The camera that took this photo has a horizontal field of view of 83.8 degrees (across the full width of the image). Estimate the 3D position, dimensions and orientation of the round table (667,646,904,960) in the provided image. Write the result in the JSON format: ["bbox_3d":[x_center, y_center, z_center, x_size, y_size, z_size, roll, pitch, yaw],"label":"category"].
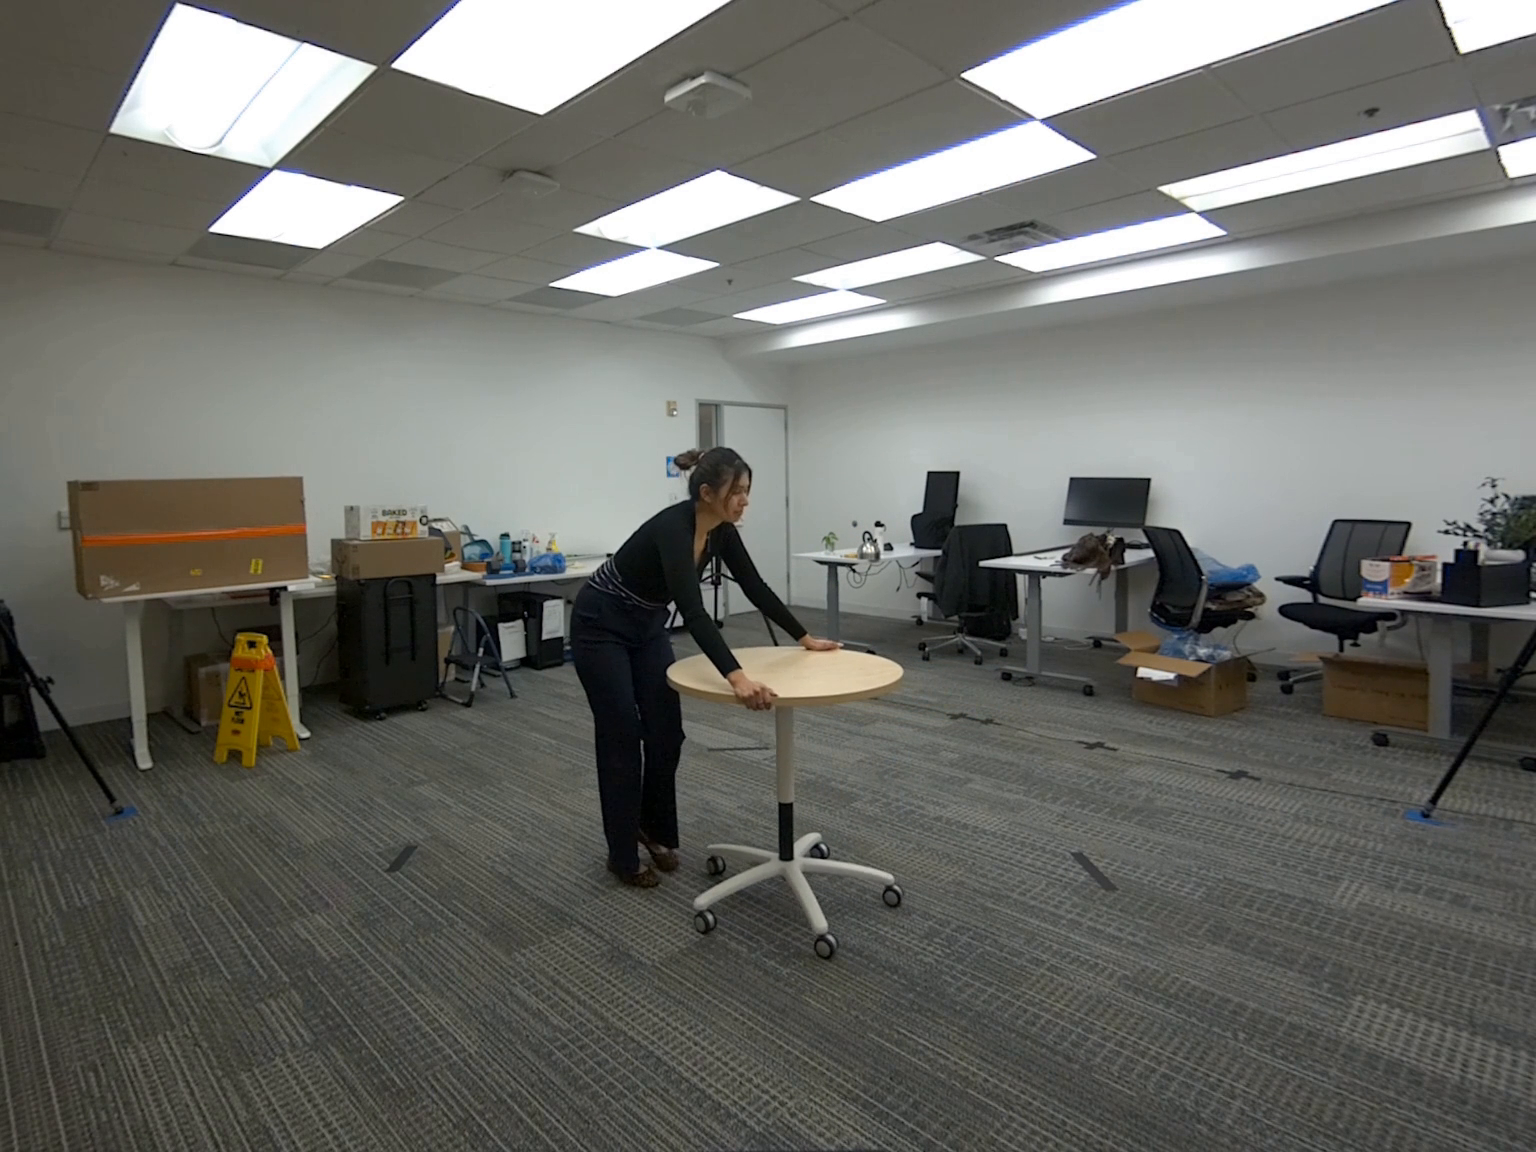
[{"bbox_3d":[0.075,0.692,2.807,0.763,0.791,0.768,-1,5,-2],"label":"round table"}]
